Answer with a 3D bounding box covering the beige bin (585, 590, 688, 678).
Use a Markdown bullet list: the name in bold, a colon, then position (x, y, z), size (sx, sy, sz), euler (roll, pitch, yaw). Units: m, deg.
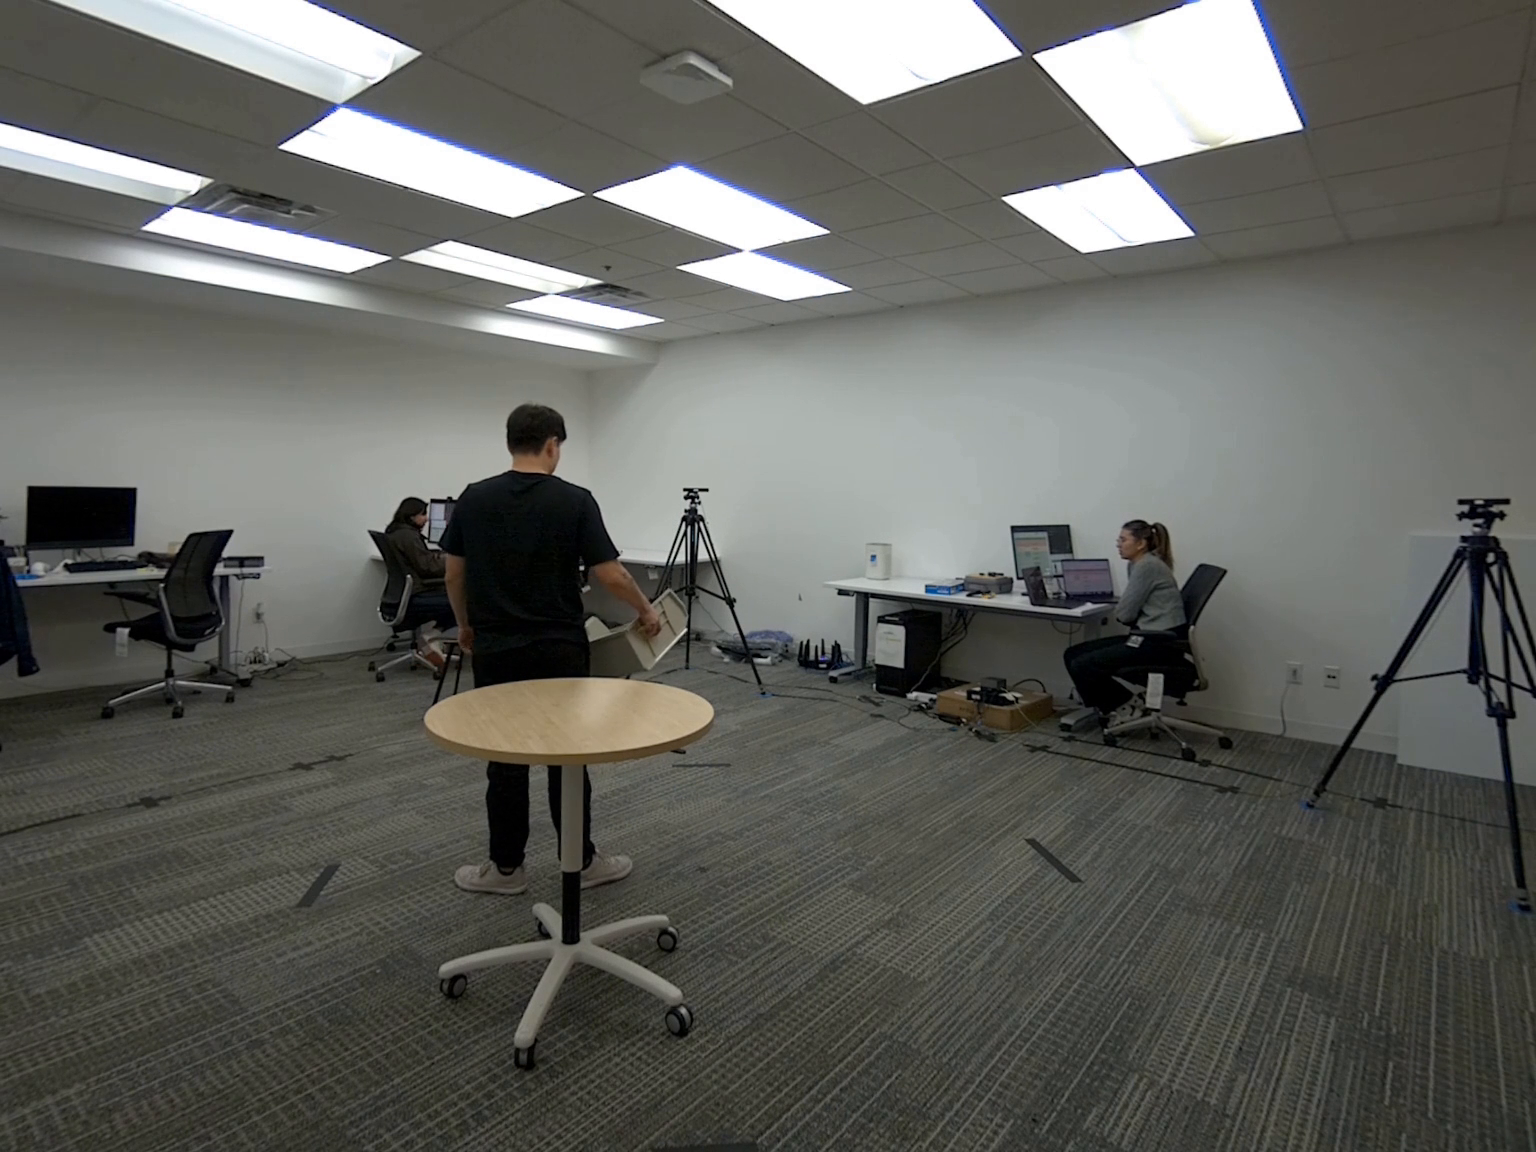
- **beige bin**: position (-0.574, 0.246, 3.278), size (0.430, 0.186, 0.377), euler (-19, 17, 31)
